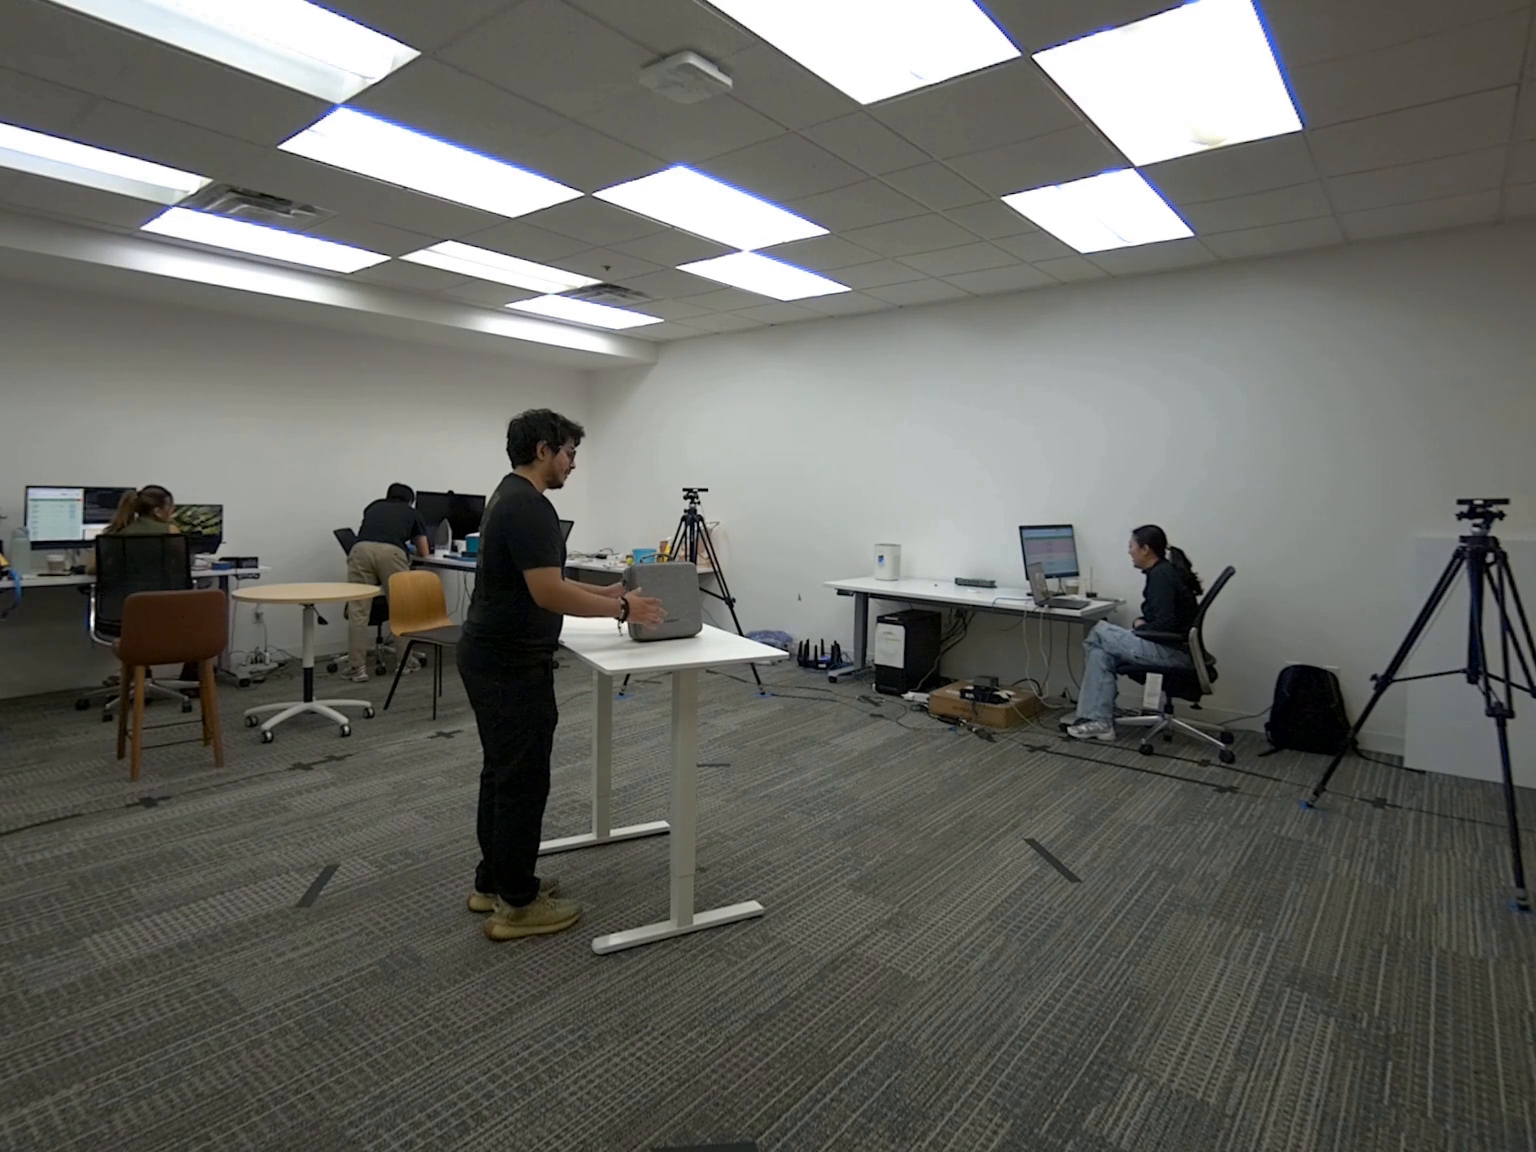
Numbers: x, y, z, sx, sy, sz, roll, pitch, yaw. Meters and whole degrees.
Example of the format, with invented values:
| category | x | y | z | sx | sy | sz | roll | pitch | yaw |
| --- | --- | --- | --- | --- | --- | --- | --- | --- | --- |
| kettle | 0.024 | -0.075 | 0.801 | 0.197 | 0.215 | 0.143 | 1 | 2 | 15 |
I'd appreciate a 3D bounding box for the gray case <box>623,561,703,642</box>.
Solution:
| category | x | y | z | sx | sy | sz | roll | pitch | yaw |
| --- | --- | --- | --- | --- | --- | --- | --- | --- | --- |
| gray case | -0.367 | 0.077 | 2.882 | 0.250 | 0.263 | 0.106 | -2 | -9 | -29 |
